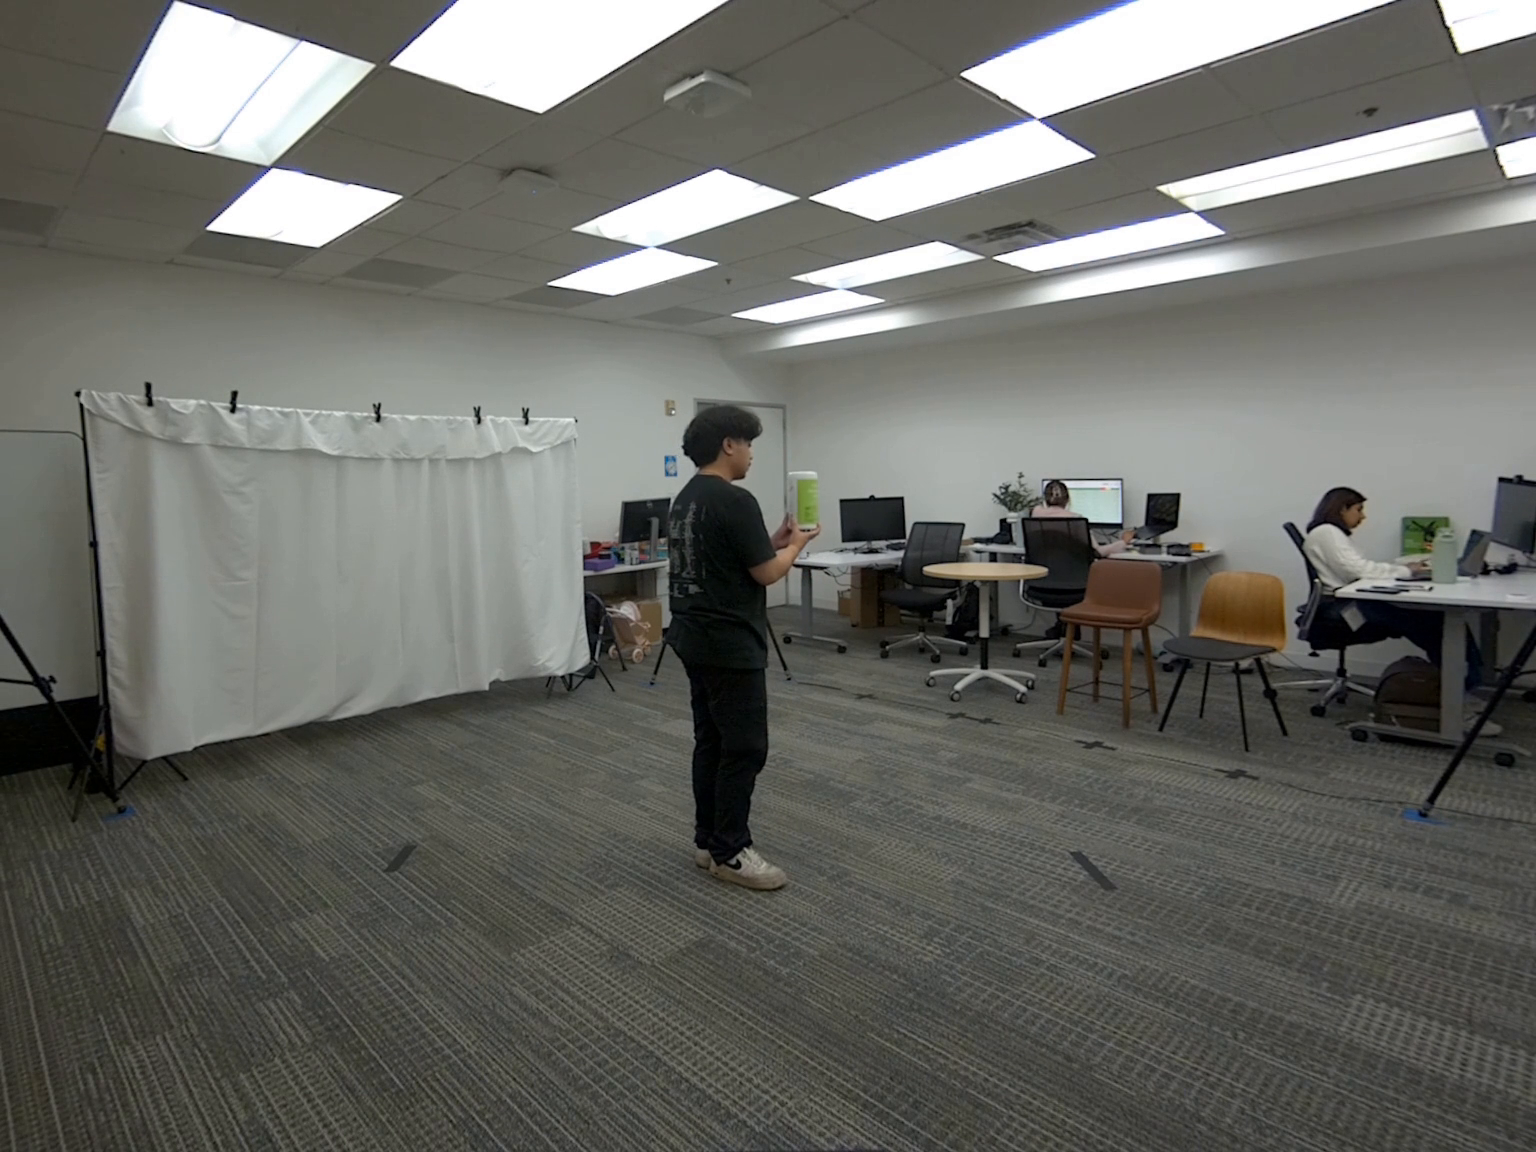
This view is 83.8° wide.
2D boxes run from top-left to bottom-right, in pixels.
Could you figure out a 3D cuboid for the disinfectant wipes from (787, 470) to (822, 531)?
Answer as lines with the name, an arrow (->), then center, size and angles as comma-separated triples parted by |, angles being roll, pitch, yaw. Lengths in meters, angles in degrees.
disinfectant wipes -> 0.134, -0.284, 3.209 | 0.118, 0.217, 0.118 | 0, 2, -2
